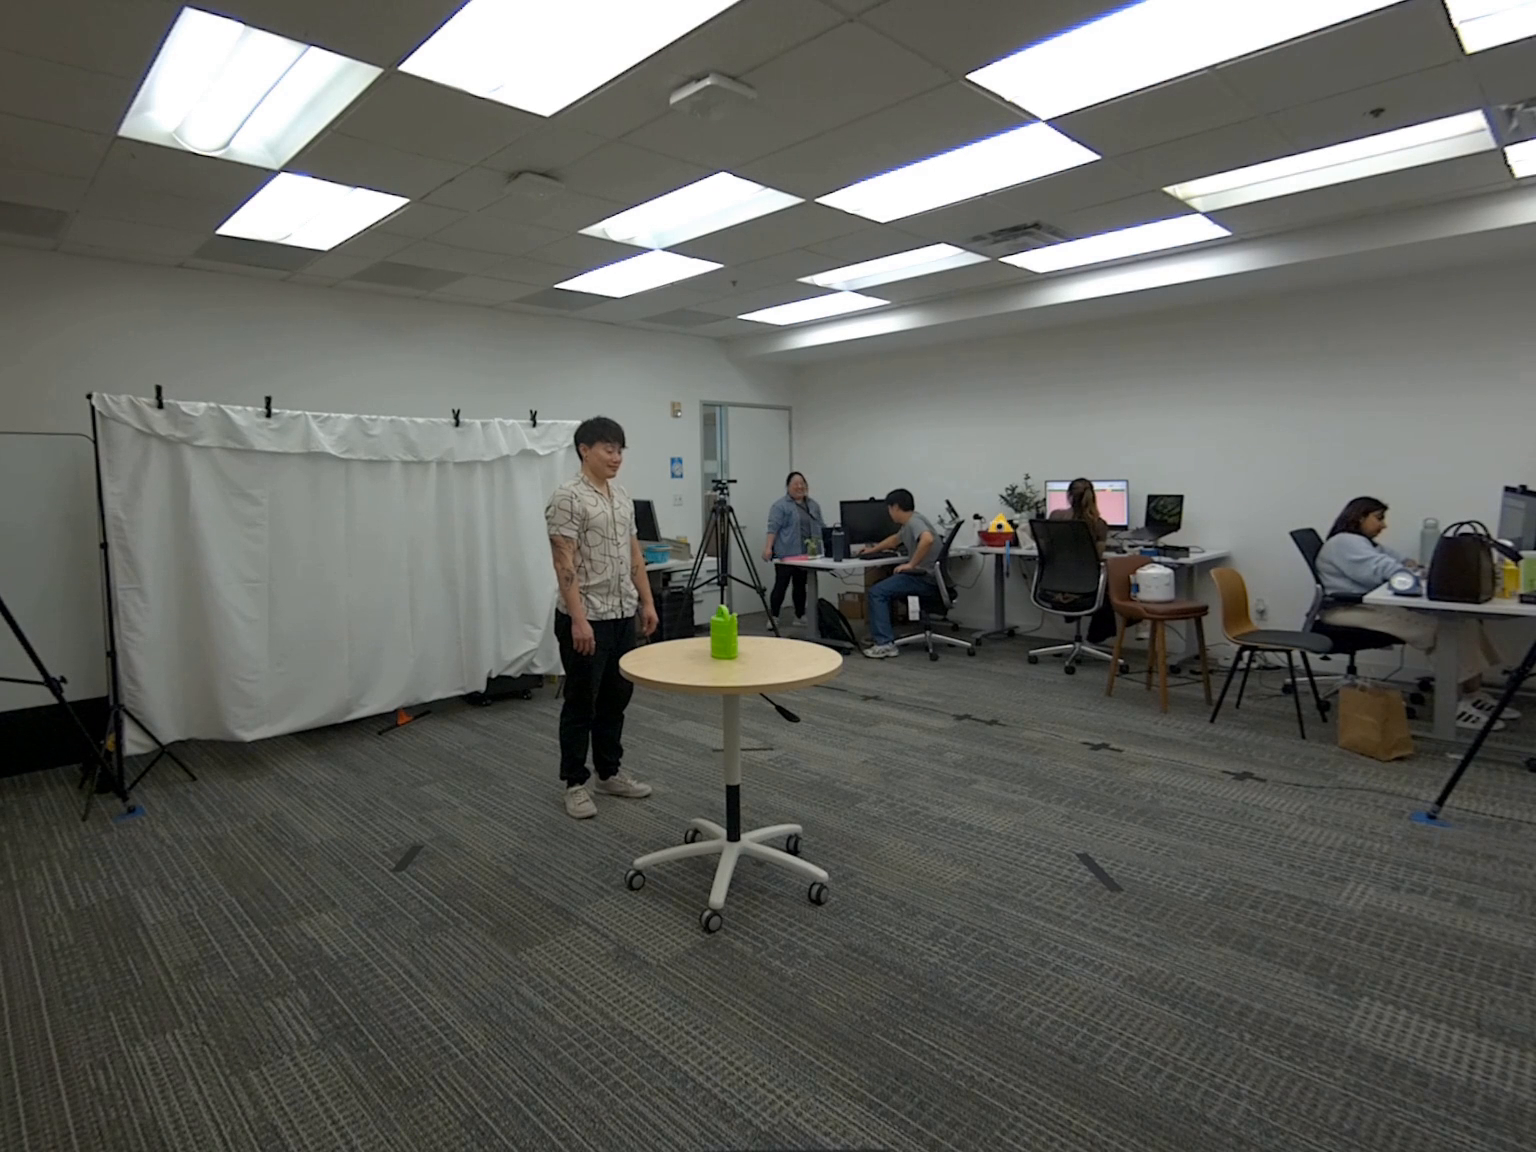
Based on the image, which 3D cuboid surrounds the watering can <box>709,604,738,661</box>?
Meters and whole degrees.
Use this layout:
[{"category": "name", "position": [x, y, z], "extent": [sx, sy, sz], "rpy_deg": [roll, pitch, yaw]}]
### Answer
[{"category": "watering can", "position": [-0.152, 0.204, 2.934], "extent": [0.098, 0.176, 0.279], "rpy_deg": [-4, 6, 1]}]
